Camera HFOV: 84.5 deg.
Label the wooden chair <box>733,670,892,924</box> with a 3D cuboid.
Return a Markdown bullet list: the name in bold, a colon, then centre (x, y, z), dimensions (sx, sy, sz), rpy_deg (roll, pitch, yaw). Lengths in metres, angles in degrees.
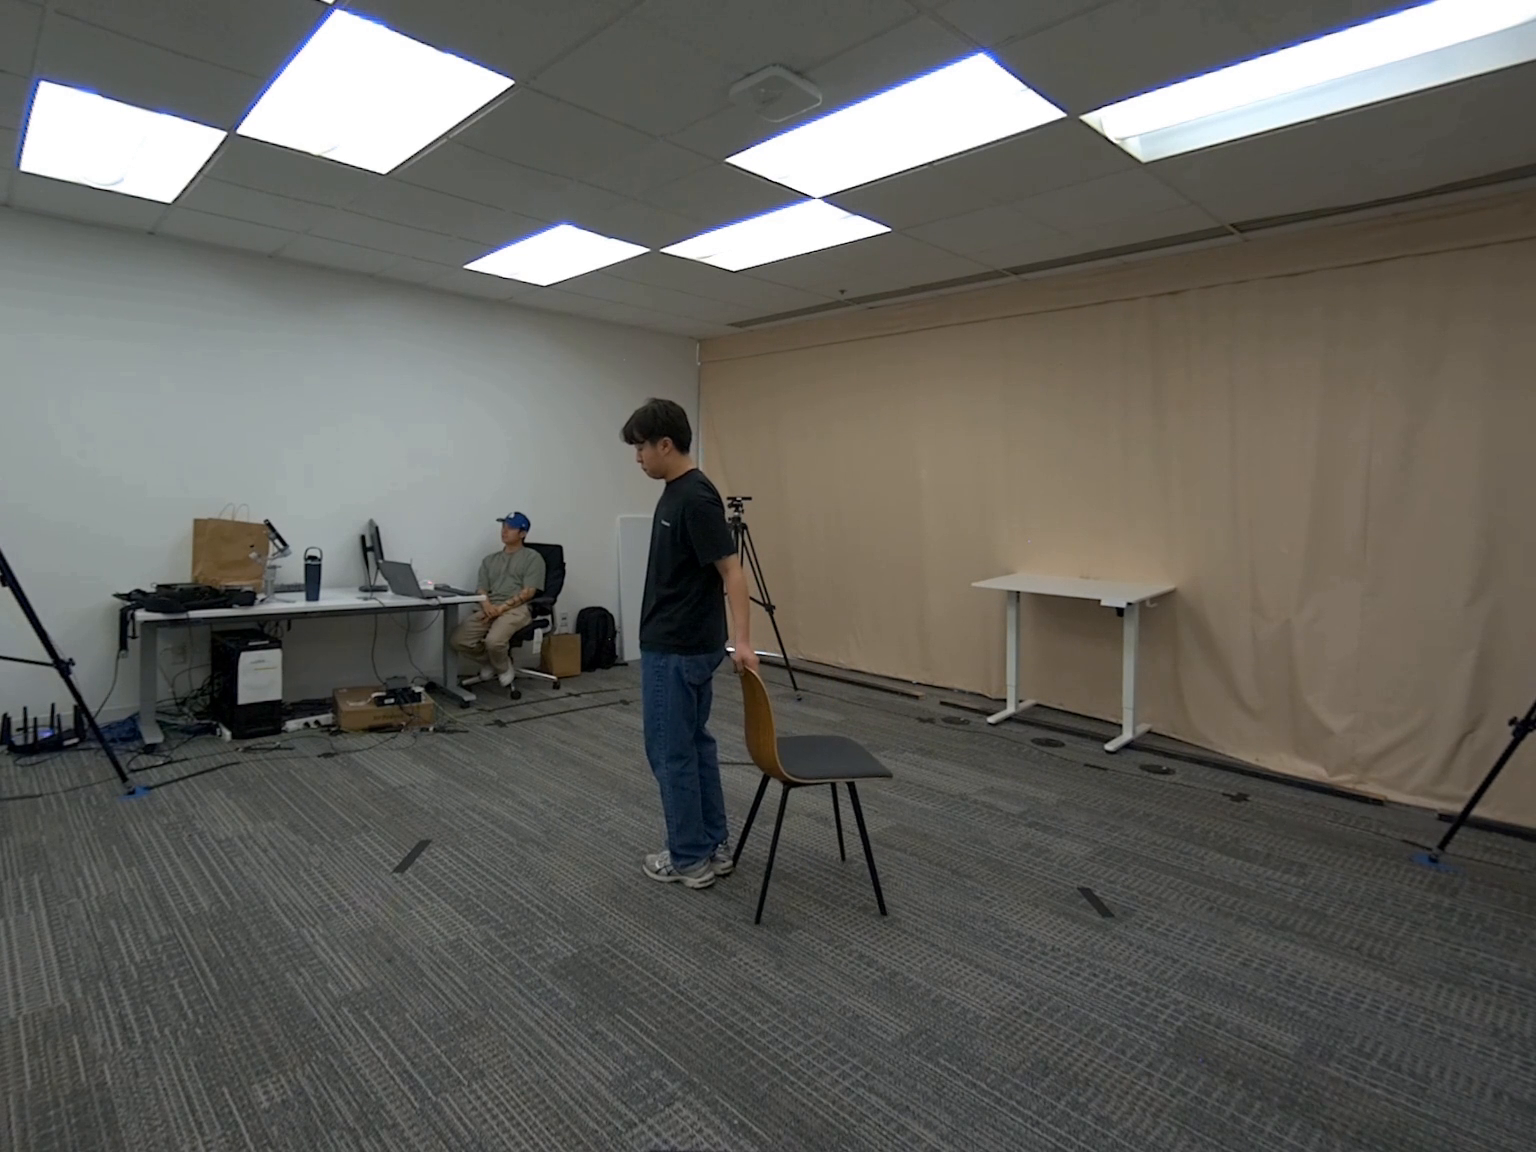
- **wooden chair**: centre (0.146, 0.696, 2.976), dimensions (0.518, 0.875, 0.483), rpy_deg (-3, 3, -12)
